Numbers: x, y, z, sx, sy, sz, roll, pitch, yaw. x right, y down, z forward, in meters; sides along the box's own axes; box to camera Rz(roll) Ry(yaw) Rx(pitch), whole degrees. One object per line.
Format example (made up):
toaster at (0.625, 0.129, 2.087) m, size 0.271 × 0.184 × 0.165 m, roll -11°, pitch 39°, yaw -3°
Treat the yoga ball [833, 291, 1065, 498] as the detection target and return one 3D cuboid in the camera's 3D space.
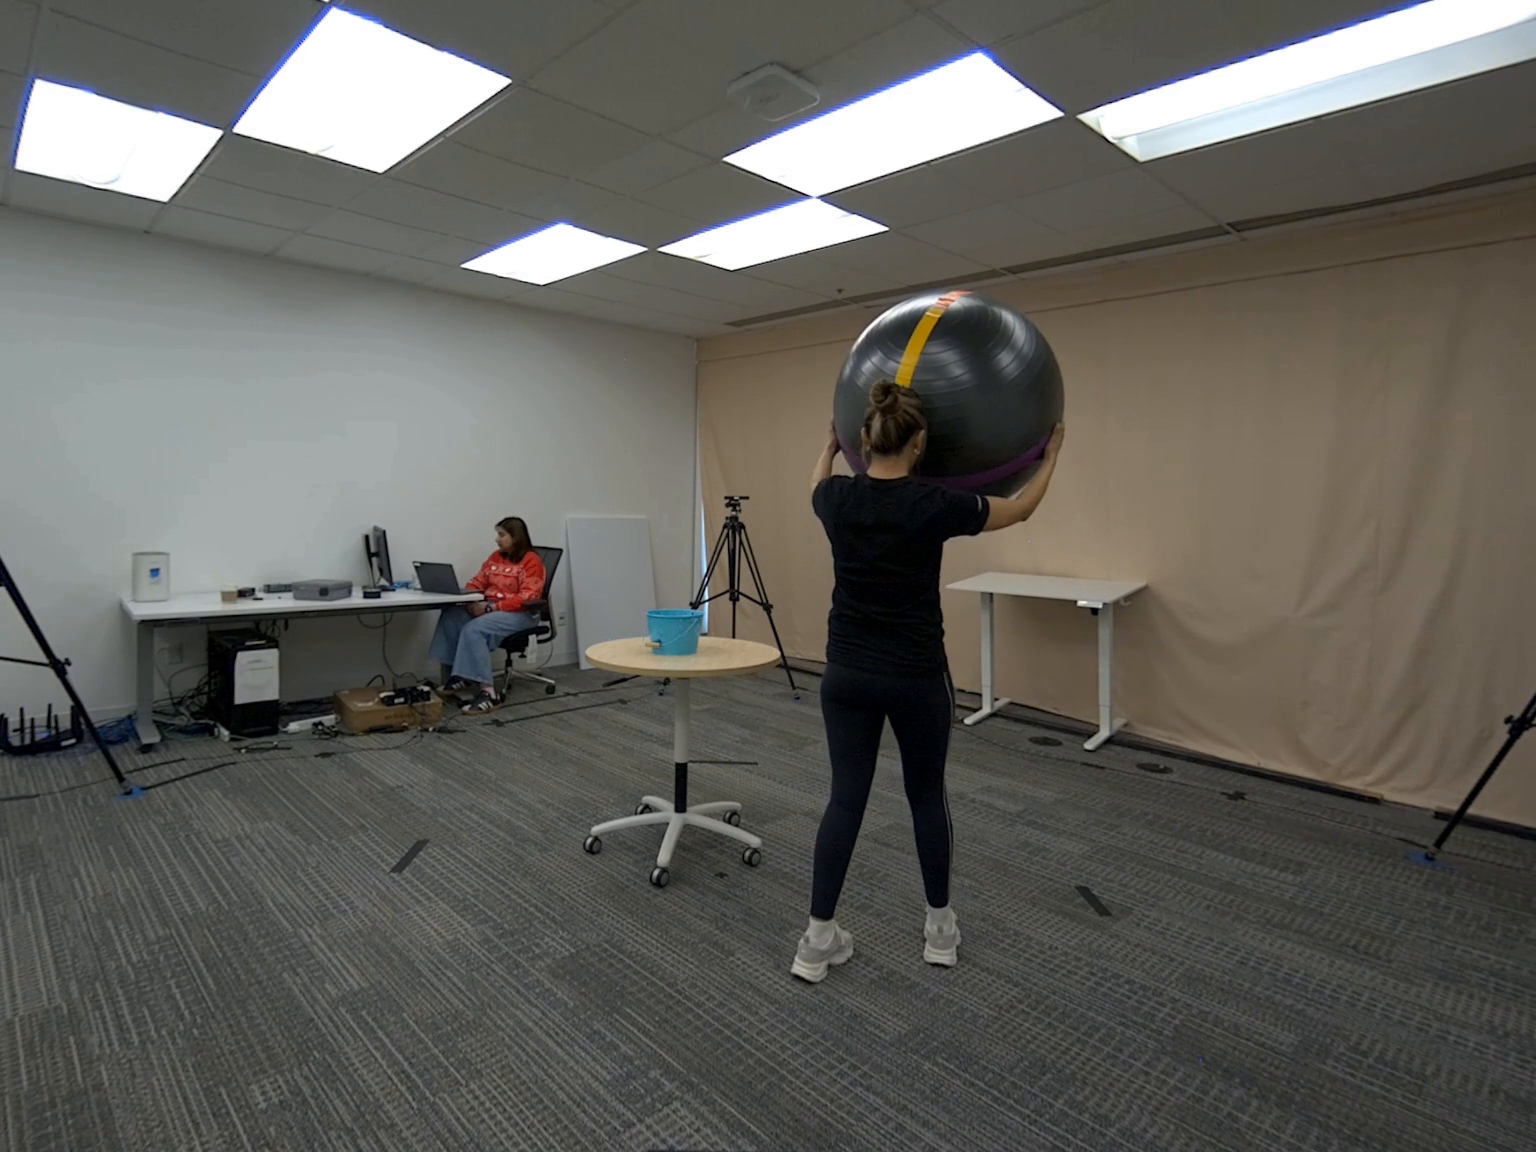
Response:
yoga ball at (0.603, -0.568, 2.853) m, size 0.757 × 0.756 × 0.761 m, roll 1°, pitch 4°, yaw -1°
